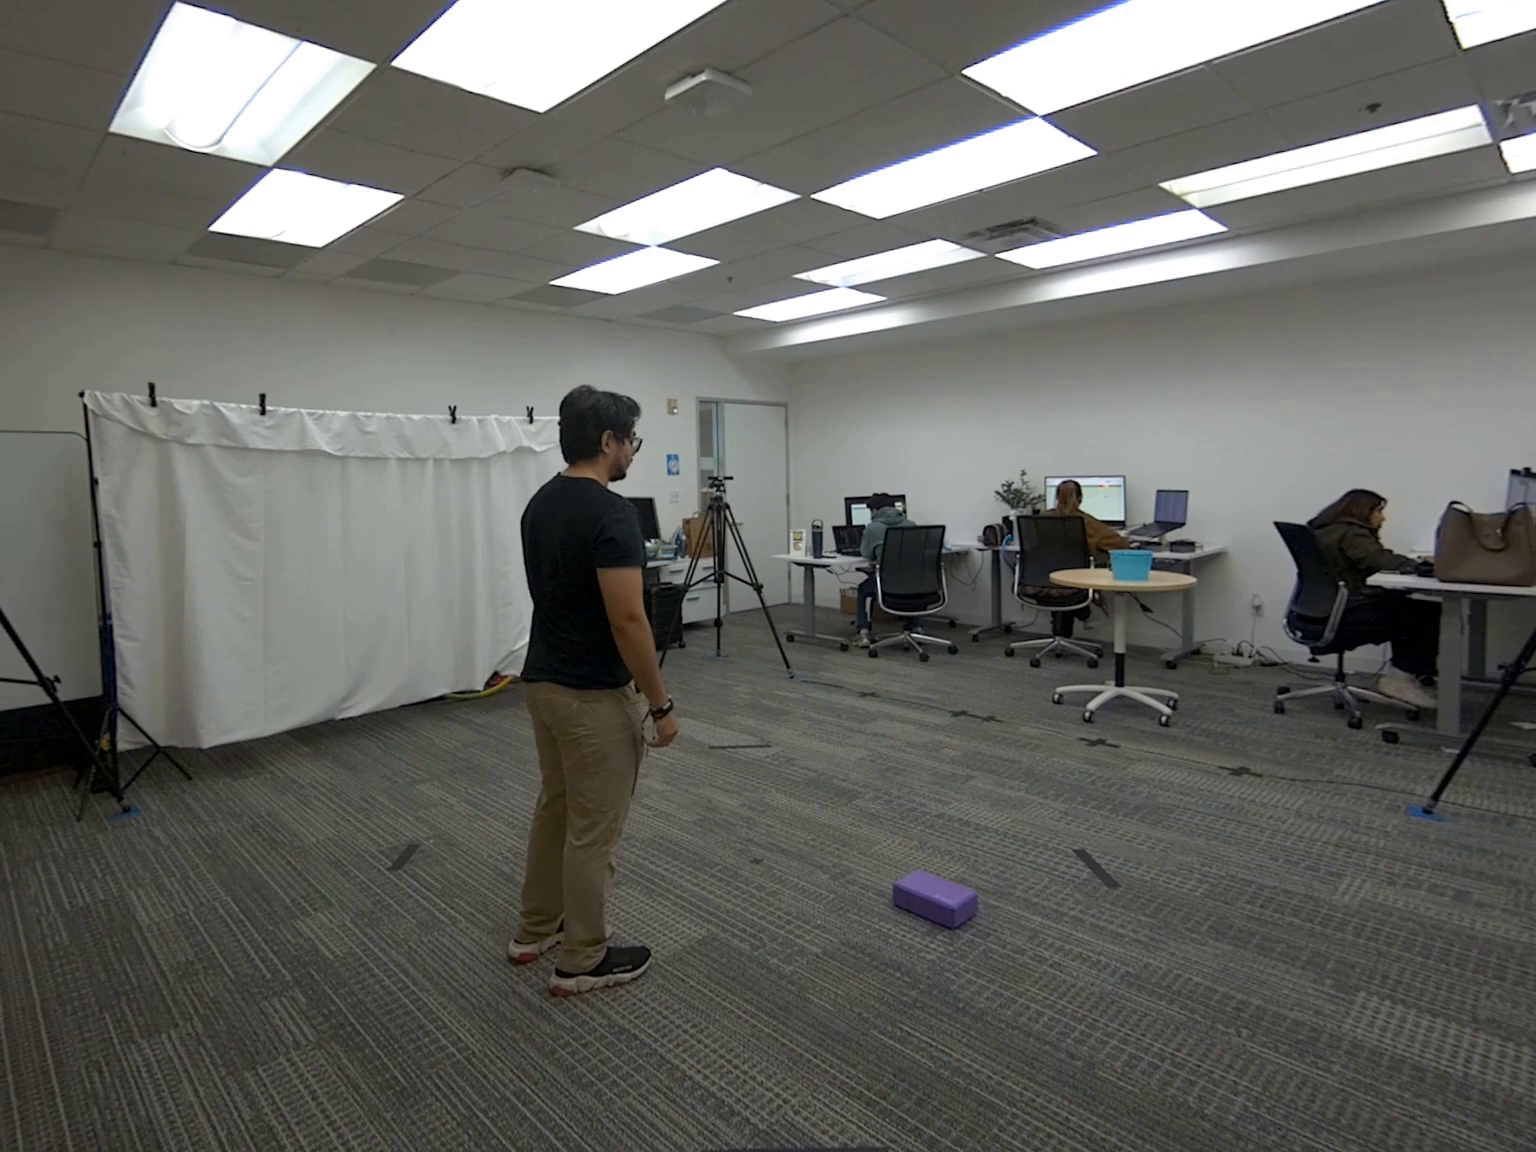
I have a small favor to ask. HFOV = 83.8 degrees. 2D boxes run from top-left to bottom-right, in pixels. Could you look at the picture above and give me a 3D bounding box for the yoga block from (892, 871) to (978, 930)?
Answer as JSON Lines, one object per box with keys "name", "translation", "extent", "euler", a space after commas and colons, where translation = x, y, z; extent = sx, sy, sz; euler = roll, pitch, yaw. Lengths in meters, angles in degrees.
{"name": "yoga block", "translation": [0.537, 1.030, 2.728], "extent": [0.145, 0.076, 0.236], "euler": [-7, 8, -44]}
